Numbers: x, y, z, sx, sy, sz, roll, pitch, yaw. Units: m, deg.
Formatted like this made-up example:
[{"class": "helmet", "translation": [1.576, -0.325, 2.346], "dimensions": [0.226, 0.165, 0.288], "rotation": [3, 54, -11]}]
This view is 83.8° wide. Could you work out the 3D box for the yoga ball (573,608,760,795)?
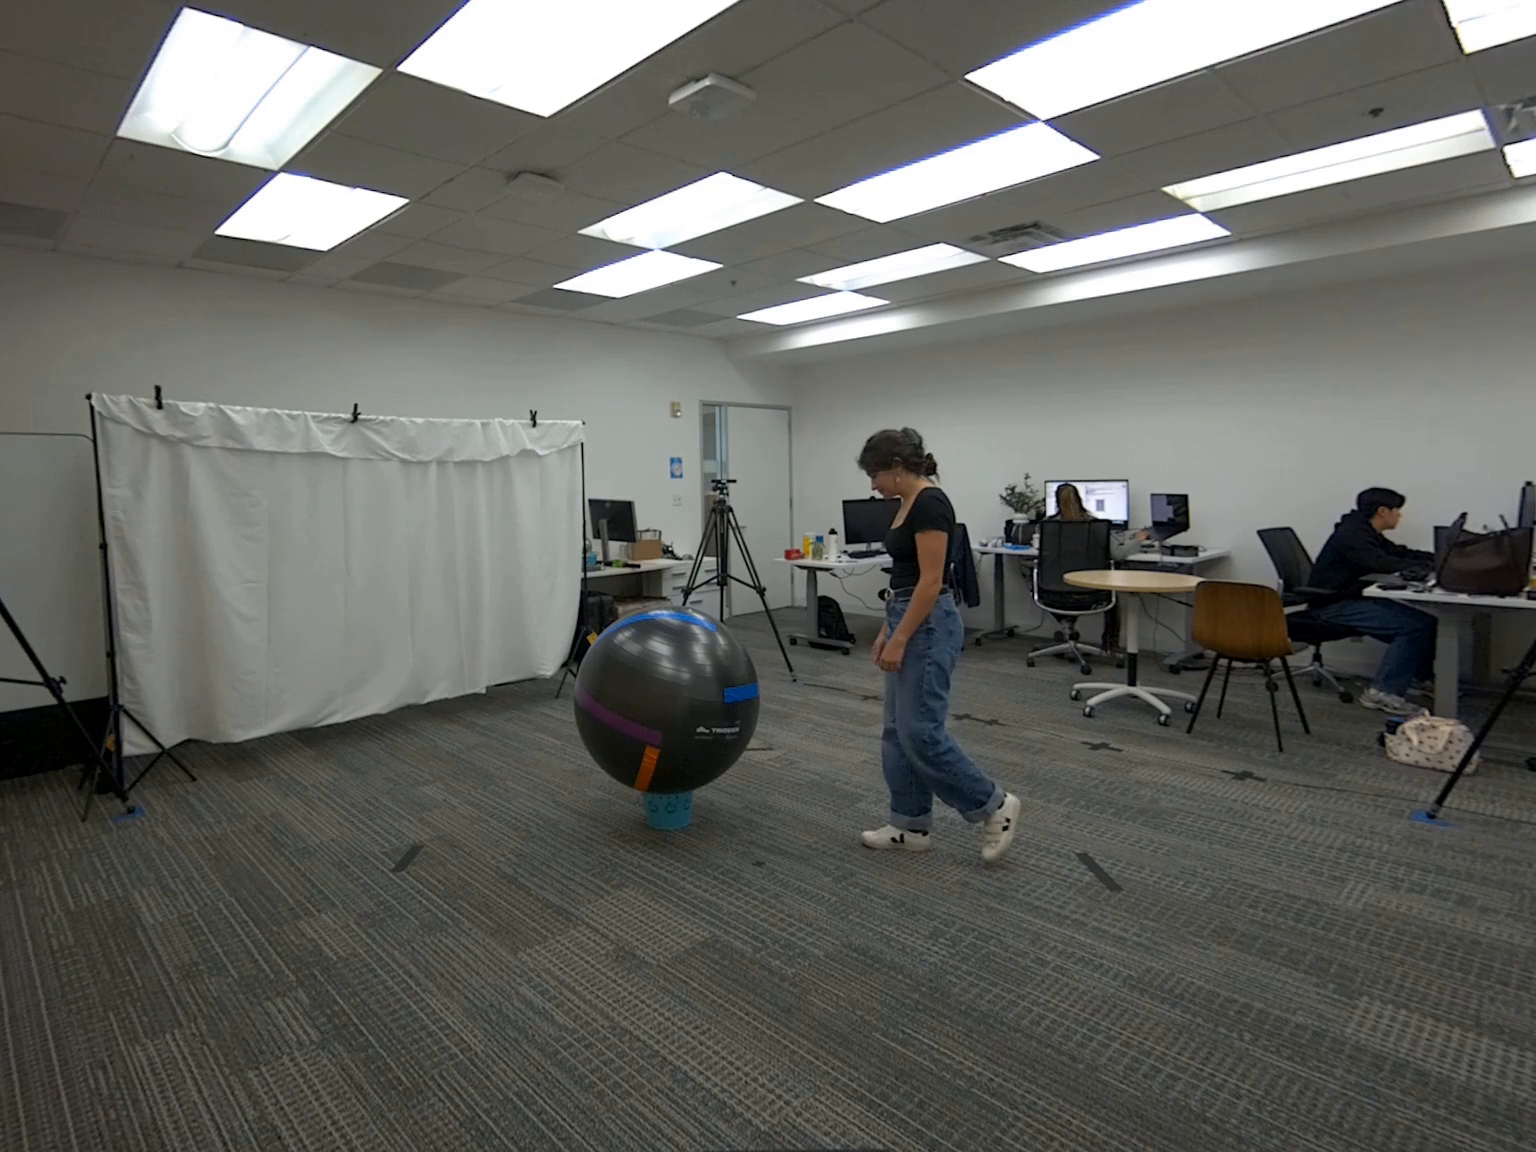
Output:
[{"class": "yoga ball", "translation": [-0.411, 0.500, 3.491], "dimensions": [0.757, 0.755, 0.762], "rotation": [-1, 5, -2]}]
